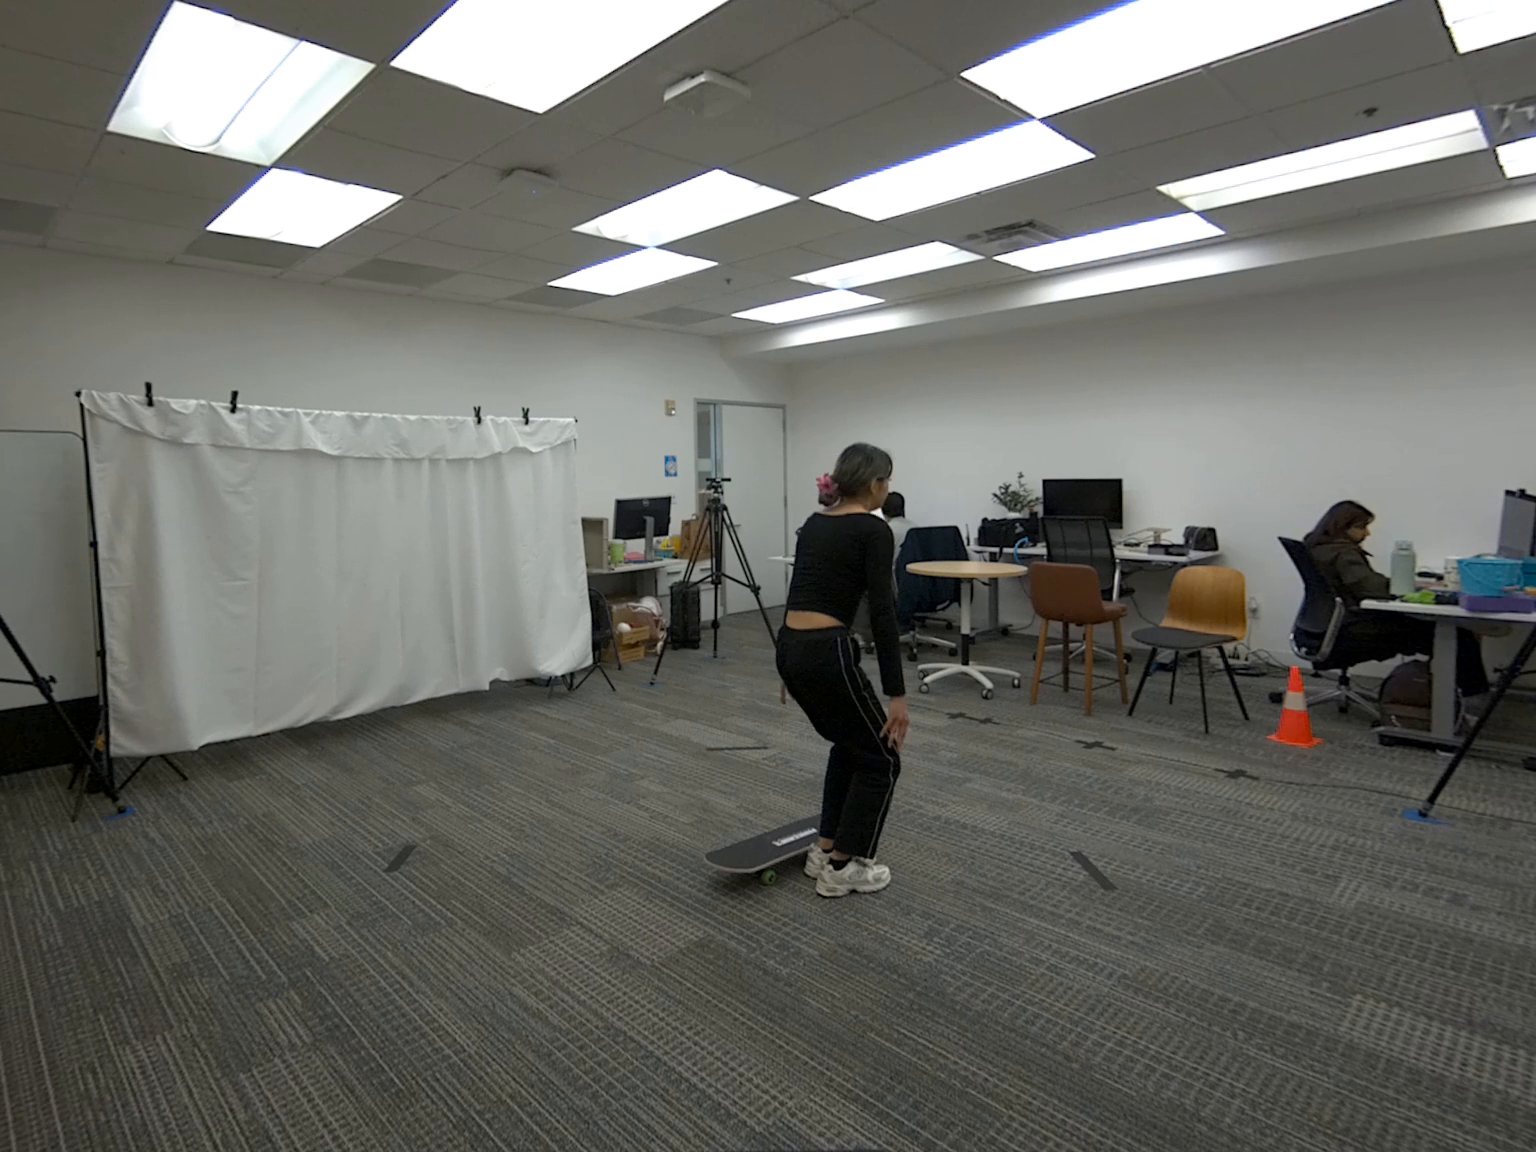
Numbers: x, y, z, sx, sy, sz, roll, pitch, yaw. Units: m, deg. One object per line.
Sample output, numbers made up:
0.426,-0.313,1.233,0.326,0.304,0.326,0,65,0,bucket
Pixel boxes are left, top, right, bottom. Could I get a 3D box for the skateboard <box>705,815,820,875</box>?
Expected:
0.099,0.979,3.125,0.765,0.110,0.199,-7,7,-39,skateboard
